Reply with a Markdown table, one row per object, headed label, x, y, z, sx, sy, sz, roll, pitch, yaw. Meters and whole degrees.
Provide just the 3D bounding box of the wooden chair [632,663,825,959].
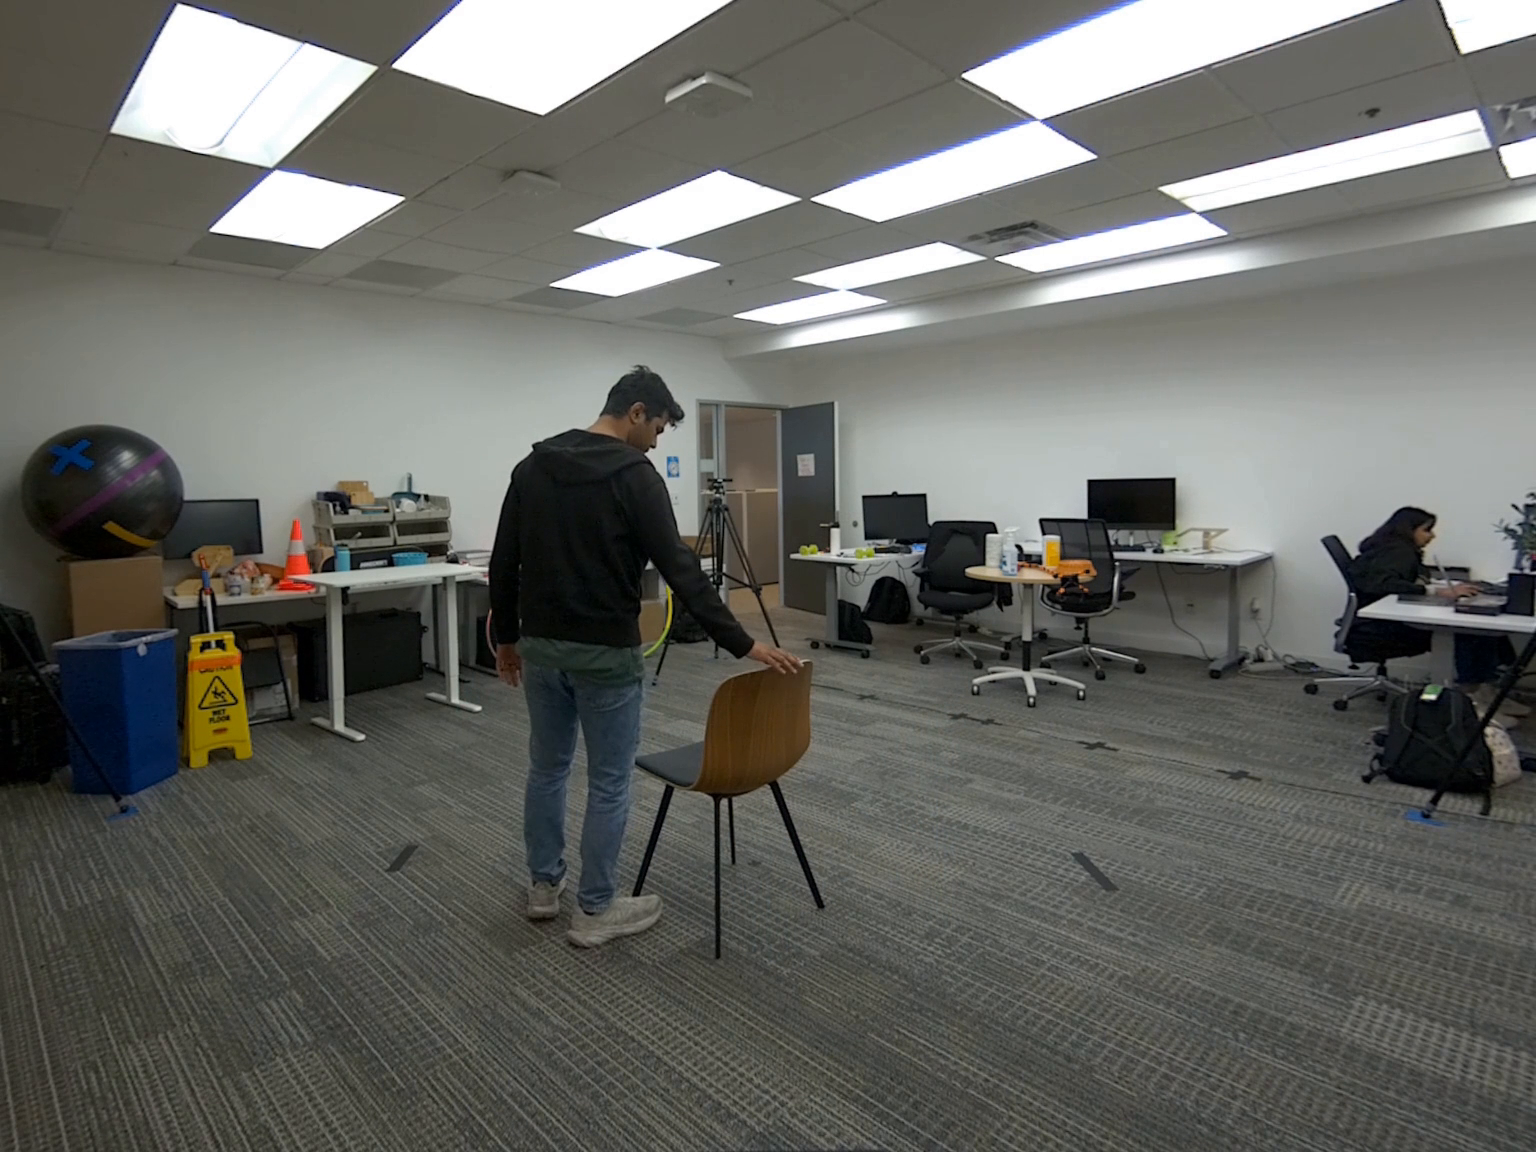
| label | x | y | z | sx | sy | sz | roll | pitch | yaw |
| --- | --- | --- | --- | --- | --- | --- | --- | --- | --- |
| wooden chair | -0.140 | 0.654 | 2.781 | 0.465 | 0.871 | 0.541 | -5 | 10 | -41 |
